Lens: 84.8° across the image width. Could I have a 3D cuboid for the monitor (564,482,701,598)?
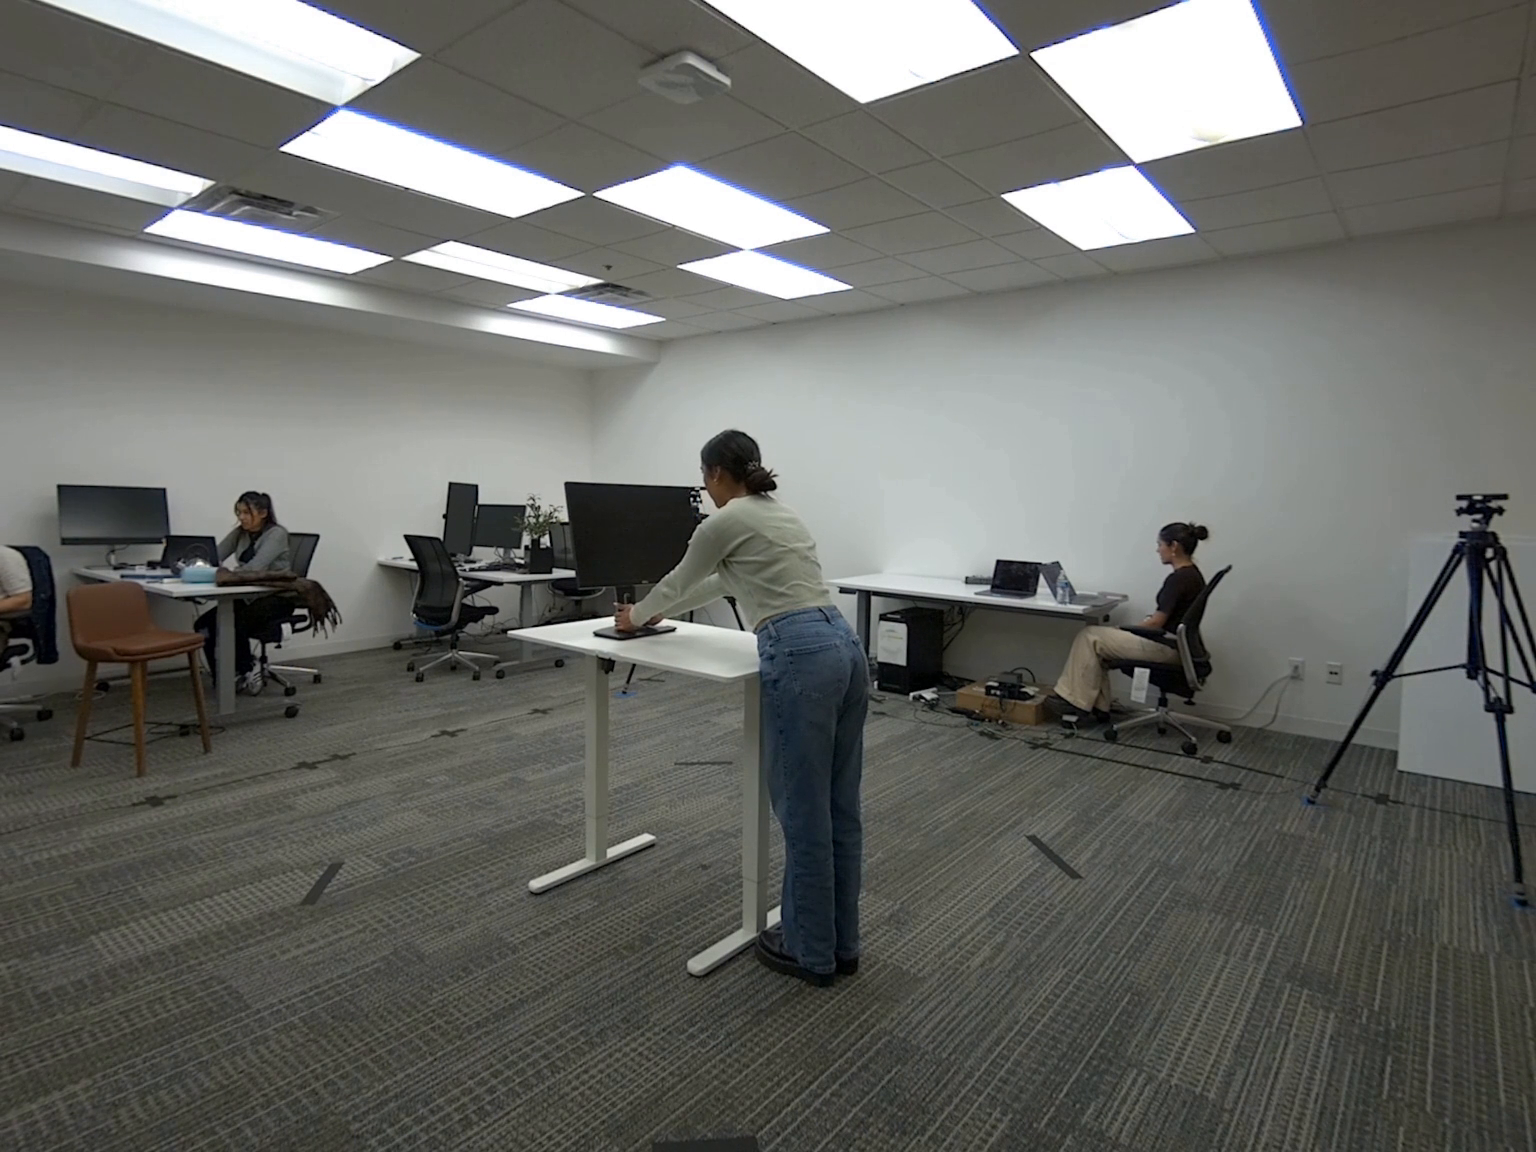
[{"bbox_3d":[-0.476,-0.059,2.938,0.523,0.521,0.193,-3,4,-45],"label":"monitor"}]
